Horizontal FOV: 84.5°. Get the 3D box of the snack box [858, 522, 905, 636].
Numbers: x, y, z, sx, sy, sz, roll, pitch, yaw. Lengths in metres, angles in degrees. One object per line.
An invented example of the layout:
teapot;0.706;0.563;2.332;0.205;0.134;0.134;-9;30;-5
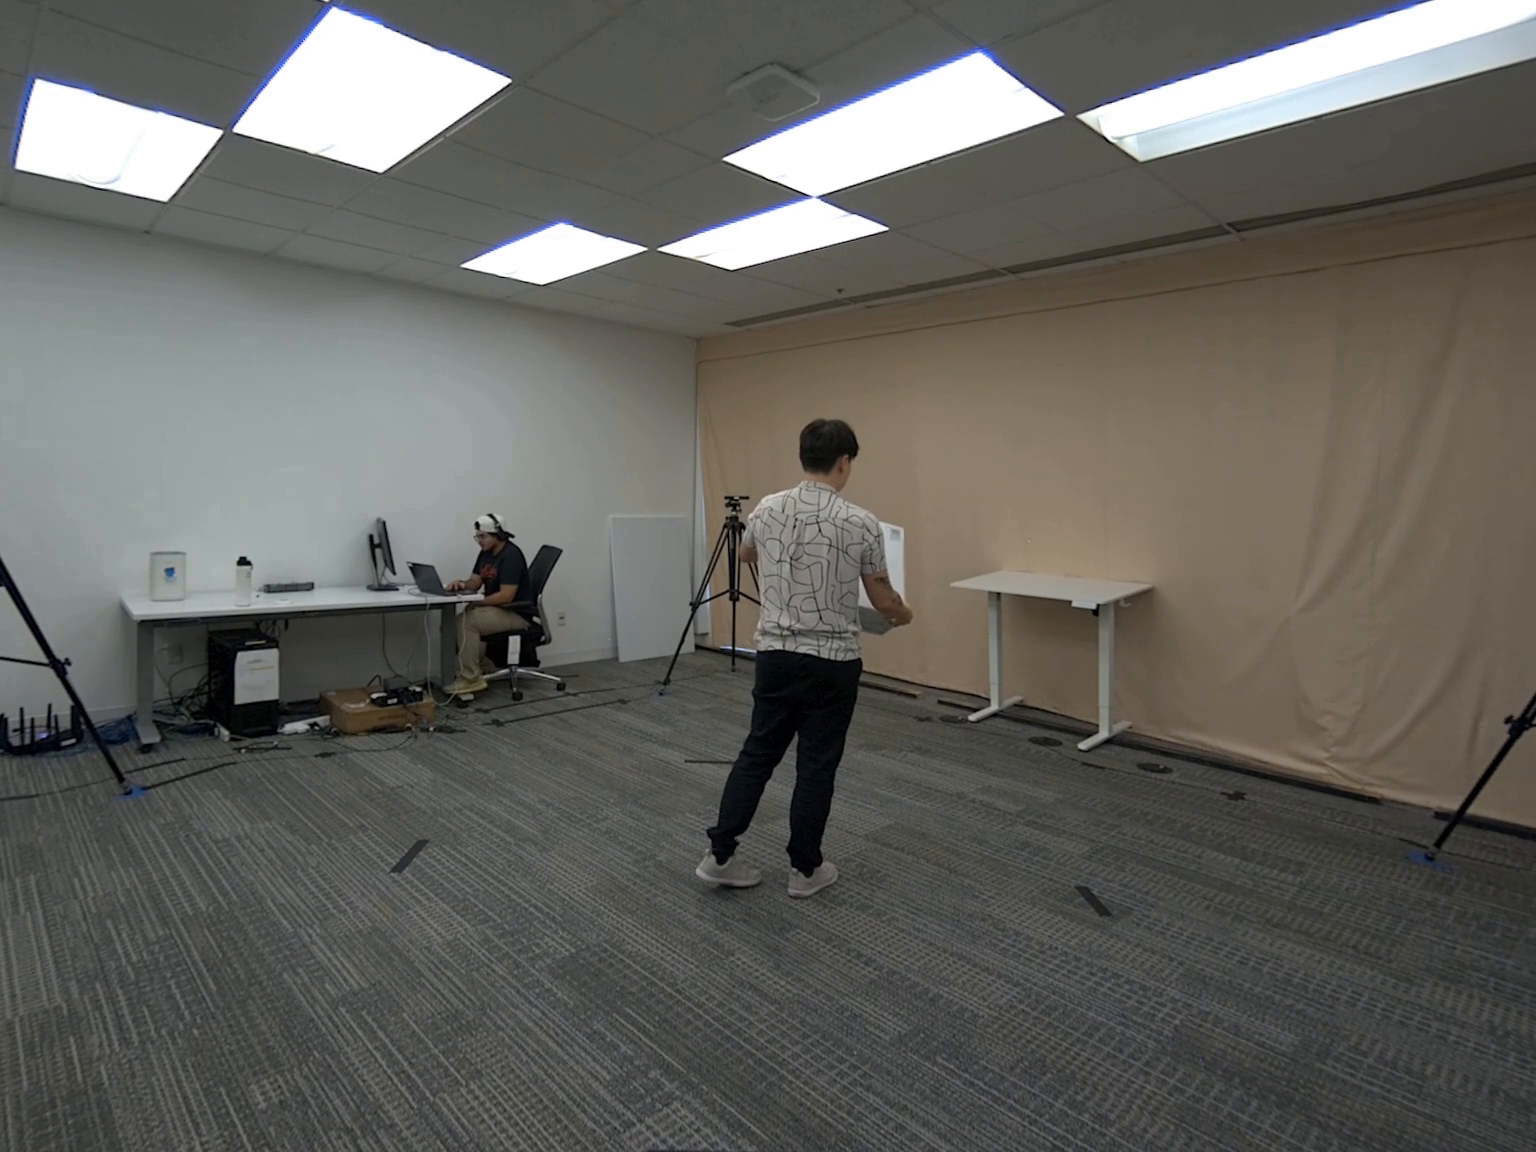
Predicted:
snack box;0.348;-0.010;3.361;0.336;0.412;0.205;12;-30;-14
